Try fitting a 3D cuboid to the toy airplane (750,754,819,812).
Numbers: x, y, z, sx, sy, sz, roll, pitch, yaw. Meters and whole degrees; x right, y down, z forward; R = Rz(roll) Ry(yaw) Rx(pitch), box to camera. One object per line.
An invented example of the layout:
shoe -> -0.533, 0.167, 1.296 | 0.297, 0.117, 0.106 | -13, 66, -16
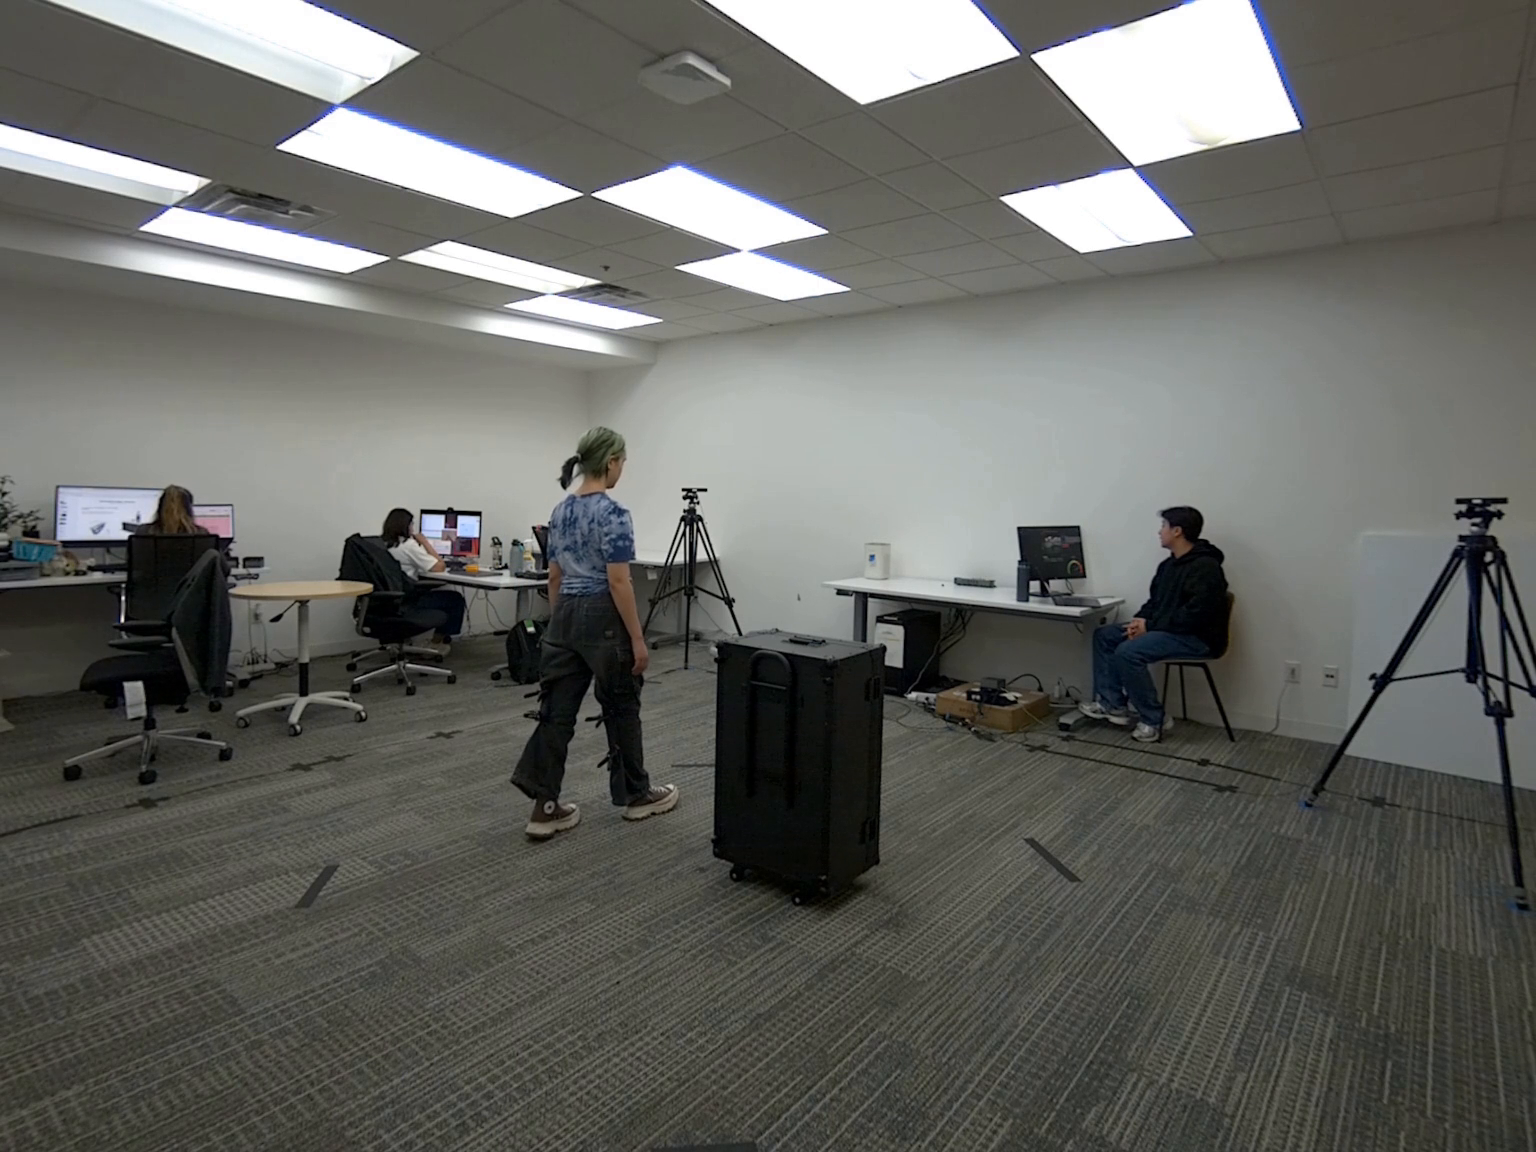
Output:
toy airplane -> 0.069, 0.928, 3.799 | 0.248, 0.156, 0.263 | 0, 6, -10
